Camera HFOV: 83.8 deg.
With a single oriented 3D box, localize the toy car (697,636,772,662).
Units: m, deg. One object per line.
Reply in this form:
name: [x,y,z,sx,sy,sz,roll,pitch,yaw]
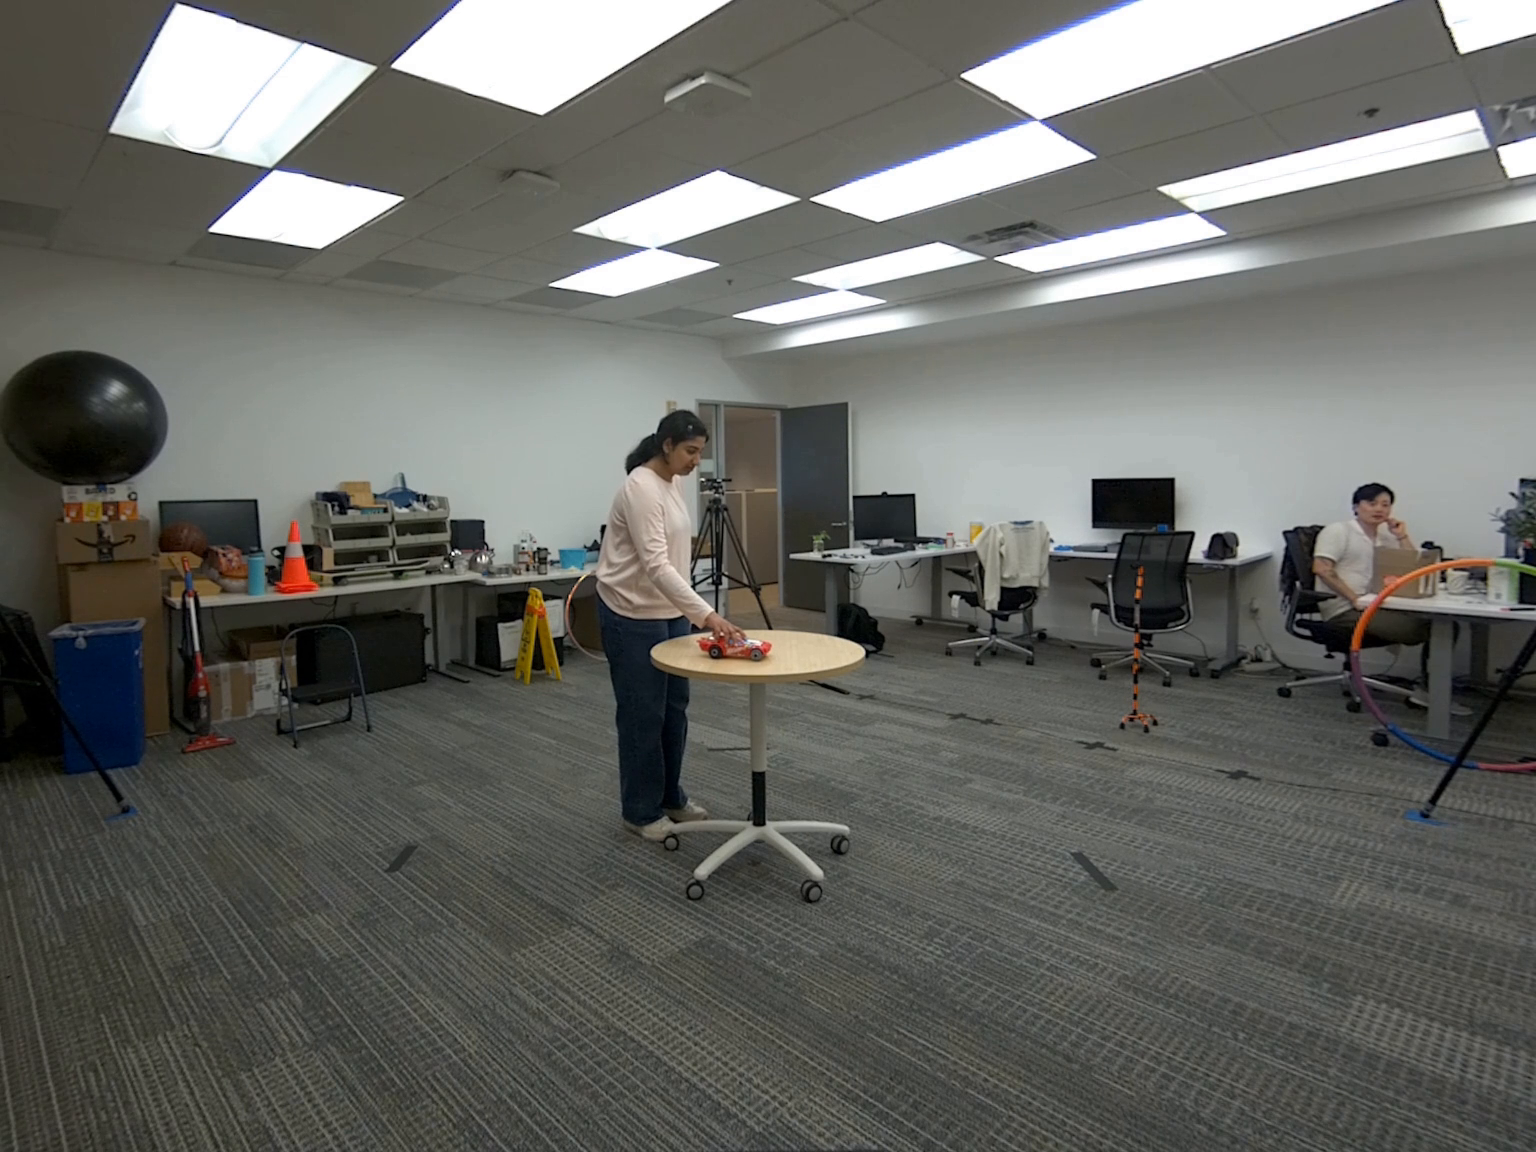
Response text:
toy car: [-0.118,0.247,2.953,0.258,0.083,0.129,12,10,12]
